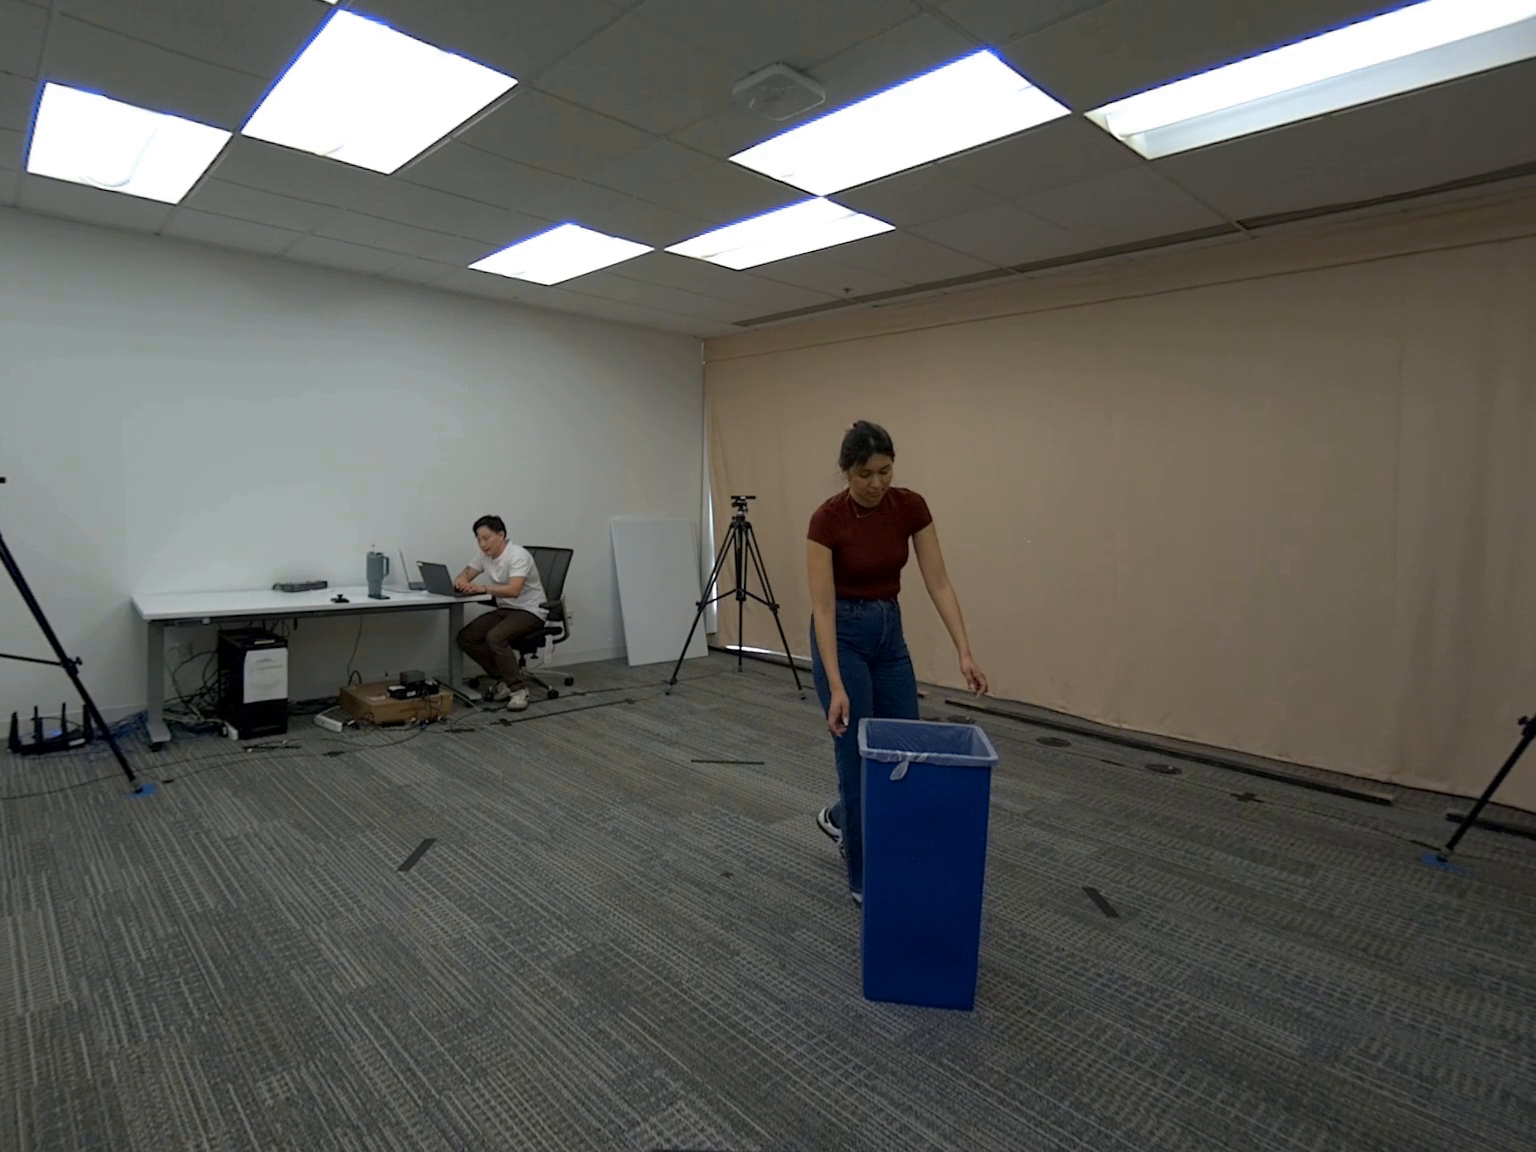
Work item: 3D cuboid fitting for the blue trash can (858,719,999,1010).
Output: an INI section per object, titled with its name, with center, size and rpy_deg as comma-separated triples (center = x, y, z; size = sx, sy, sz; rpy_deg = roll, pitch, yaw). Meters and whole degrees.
[blue trash can]
center = 0.430, 0.823, 2.459
size = 0.380, 0.712, 0.373
rpy_deg = 2, 3, 7
